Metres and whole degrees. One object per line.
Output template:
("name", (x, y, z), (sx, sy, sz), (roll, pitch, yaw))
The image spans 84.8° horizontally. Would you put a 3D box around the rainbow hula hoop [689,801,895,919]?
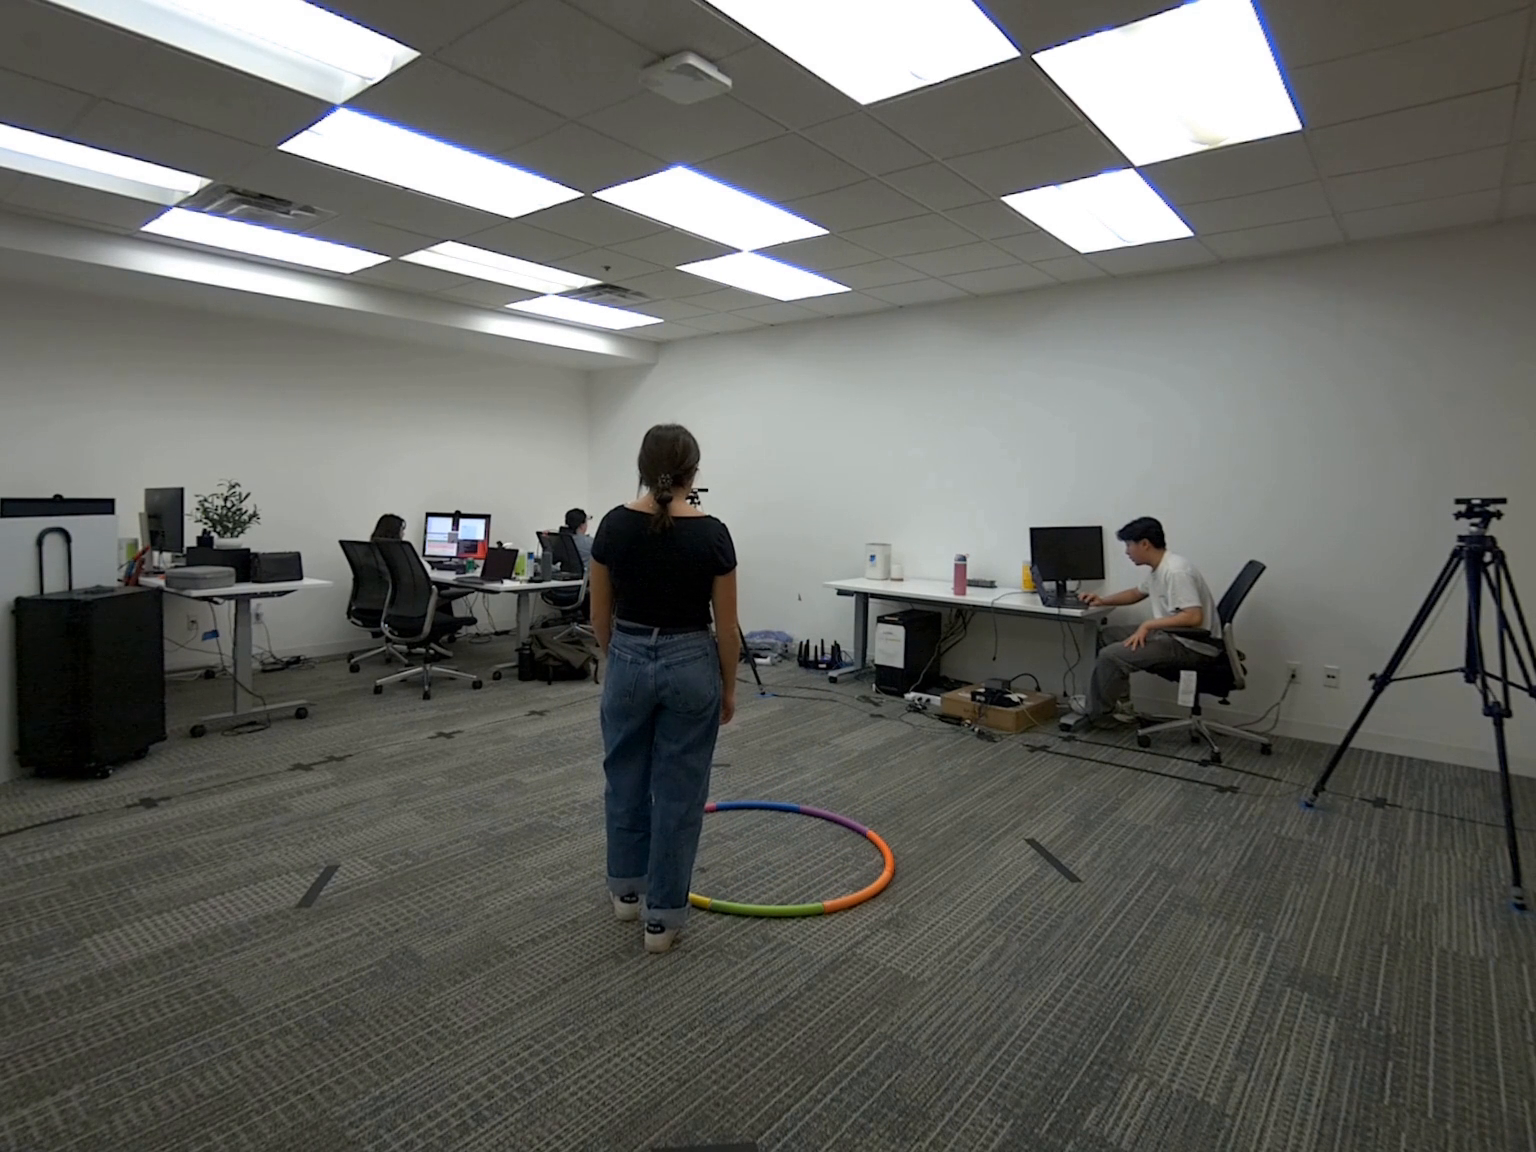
("rainbow hula hoop", (-0.022, 1.027, 3.241), (0.978, 0.035, 0.984), (1, 6, -2))
